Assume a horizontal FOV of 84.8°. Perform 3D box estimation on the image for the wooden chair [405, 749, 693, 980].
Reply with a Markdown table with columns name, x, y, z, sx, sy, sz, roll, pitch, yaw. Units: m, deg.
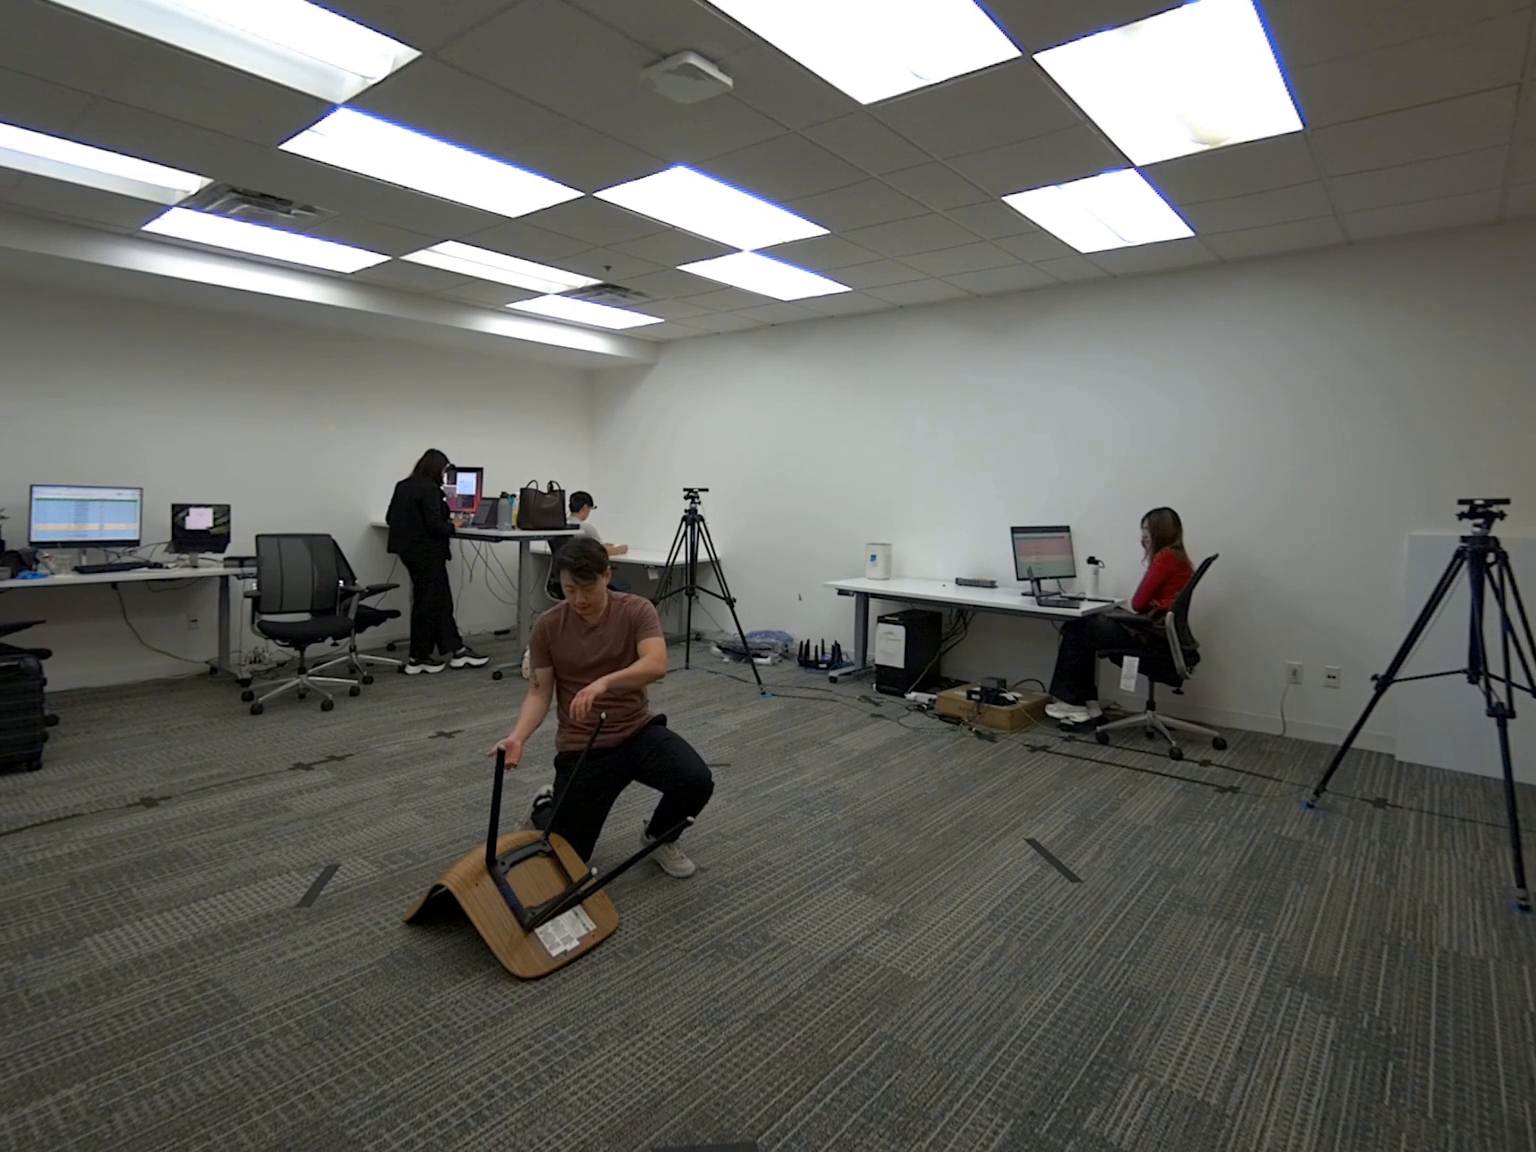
| name | x | y | z | sx | sy | sz | roll | pitch | yaw |
| --- | --- | --- | --- | --- | --- | --- | --- | --- | --- |
| wooden chair | -0.719 | 0.942 | 2.617 | 0.538 | 0.875 | 0.466 | 47 | 24 | 20 |
